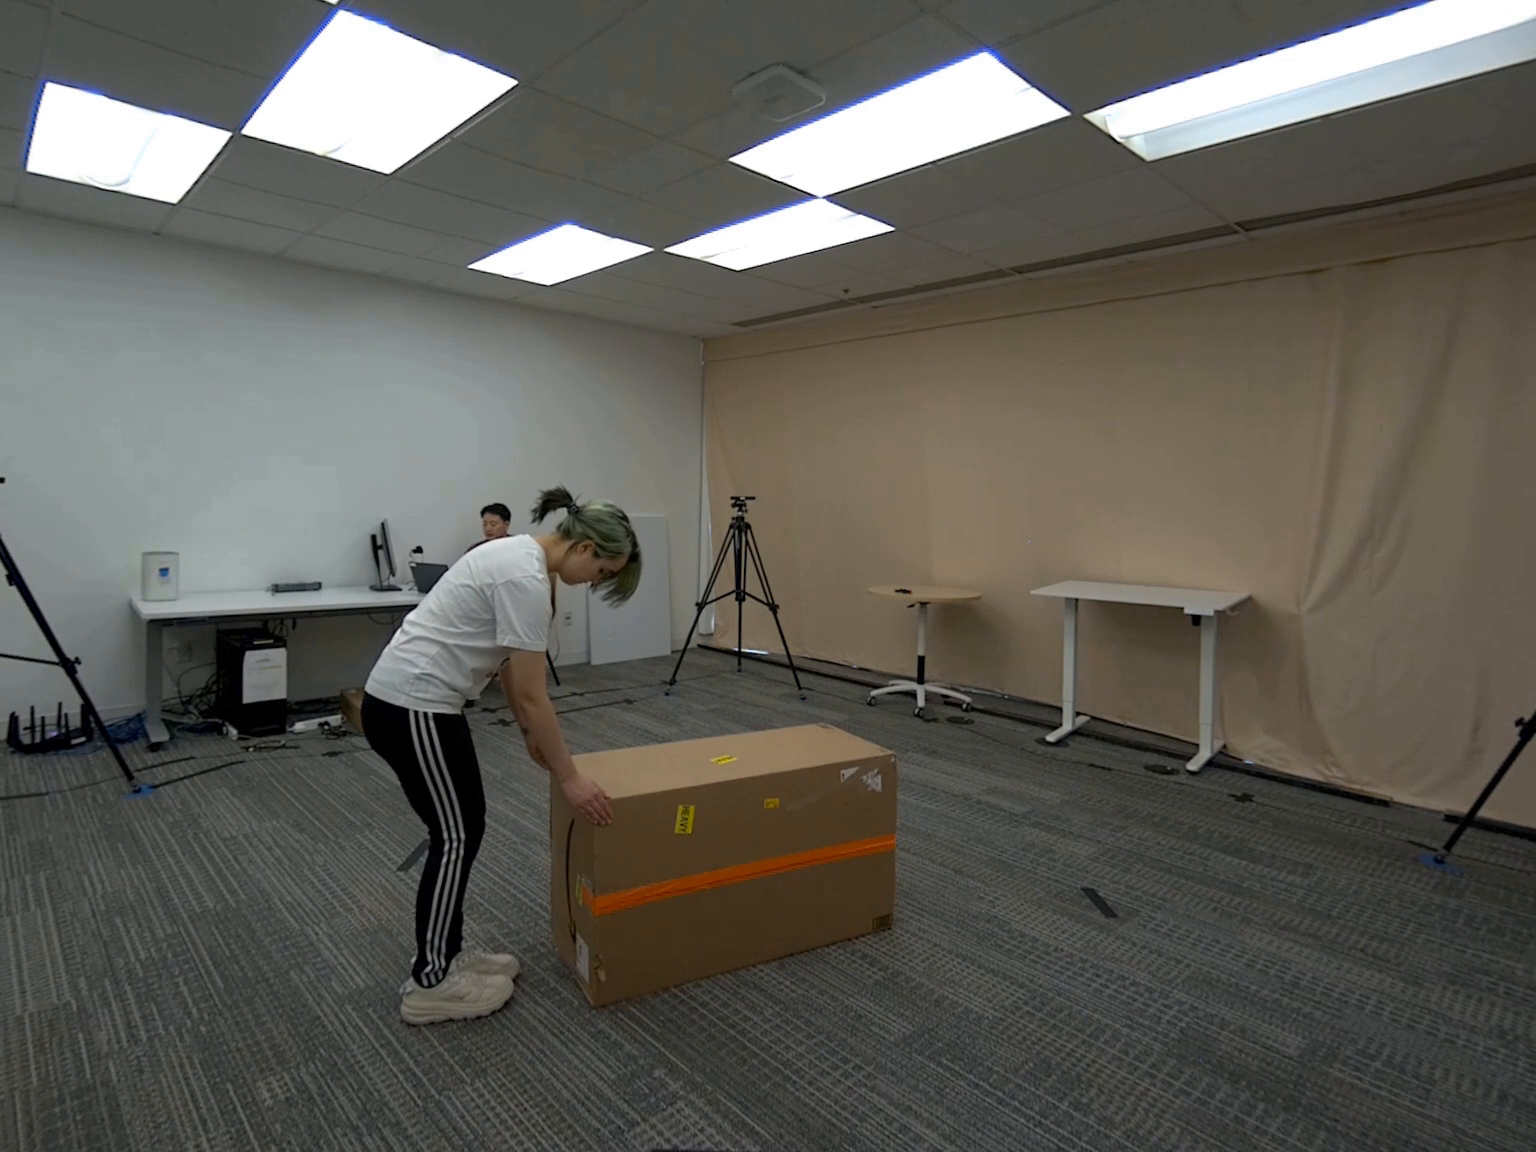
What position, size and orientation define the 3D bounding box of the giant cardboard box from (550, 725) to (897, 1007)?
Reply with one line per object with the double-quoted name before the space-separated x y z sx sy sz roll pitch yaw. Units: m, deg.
"giant cardboard box" -0.139 0.856 2.675 1.007 0.582 0.457 -2 6 -29
